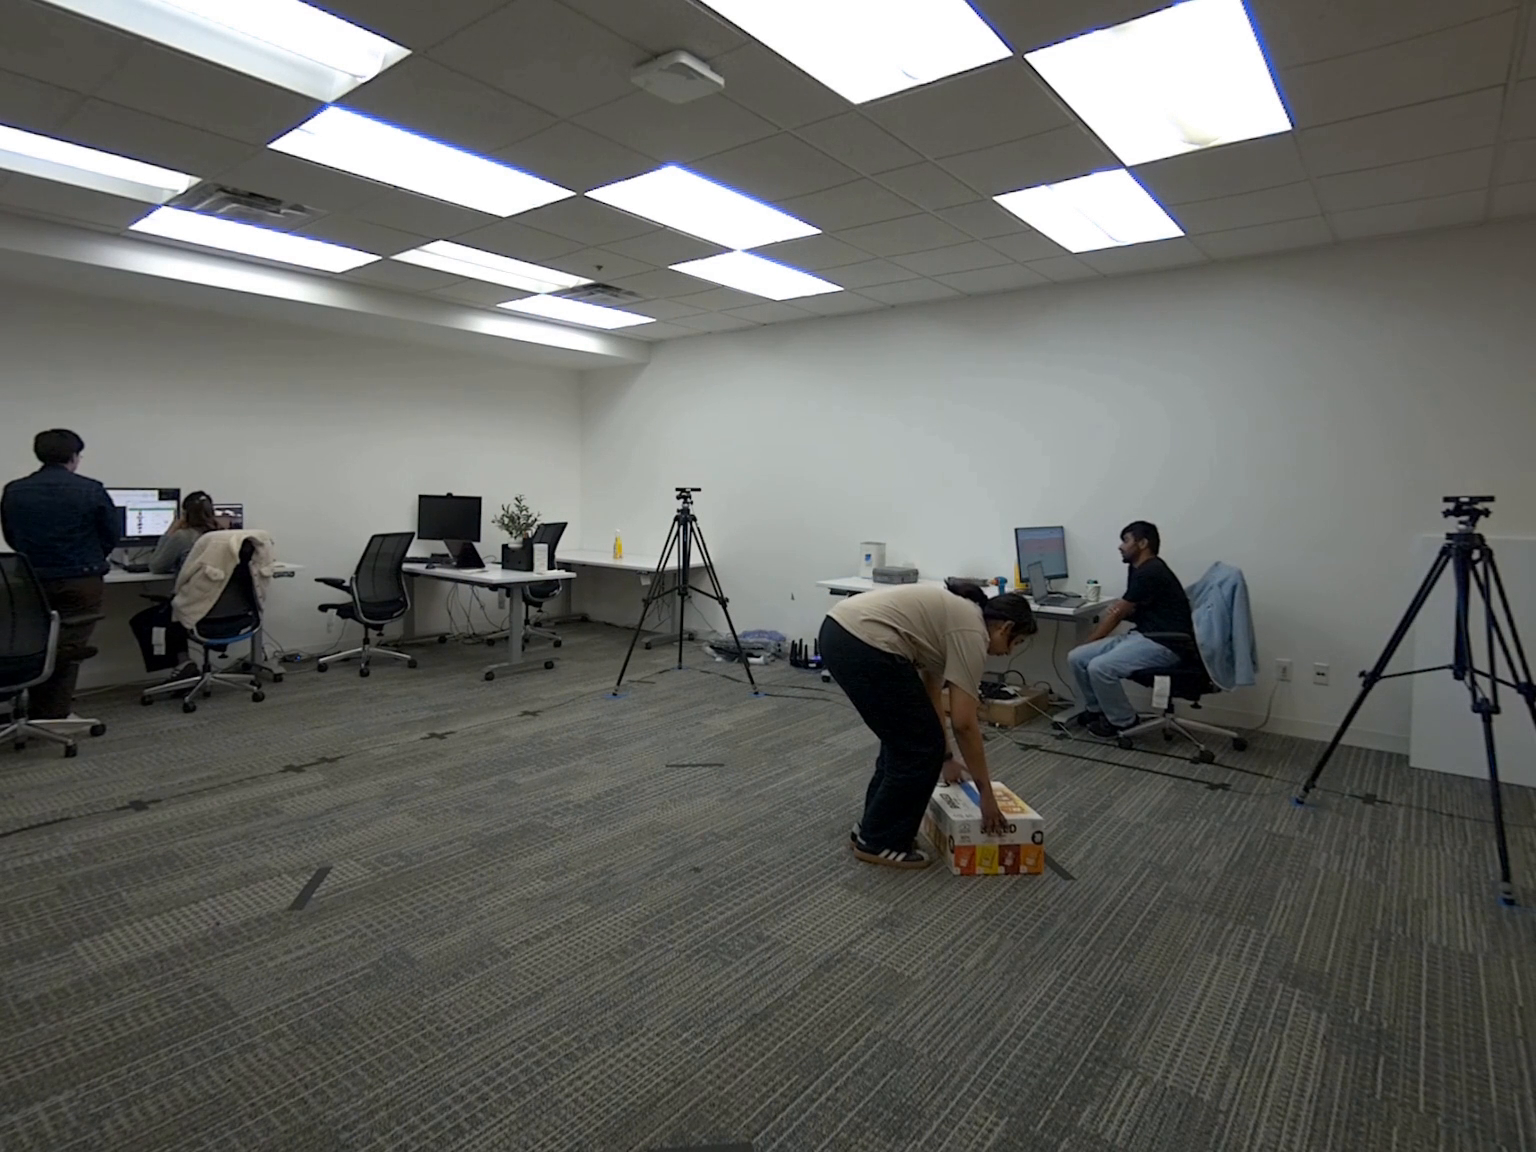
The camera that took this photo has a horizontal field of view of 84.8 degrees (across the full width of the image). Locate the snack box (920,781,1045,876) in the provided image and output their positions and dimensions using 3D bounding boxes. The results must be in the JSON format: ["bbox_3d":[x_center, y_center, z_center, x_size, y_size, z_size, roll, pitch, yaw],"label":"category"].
[{"bbox_3d":[0.813,0.969,3.308,0.338,0.205,0.409,0,5,-6],"label":"snack box"}]
